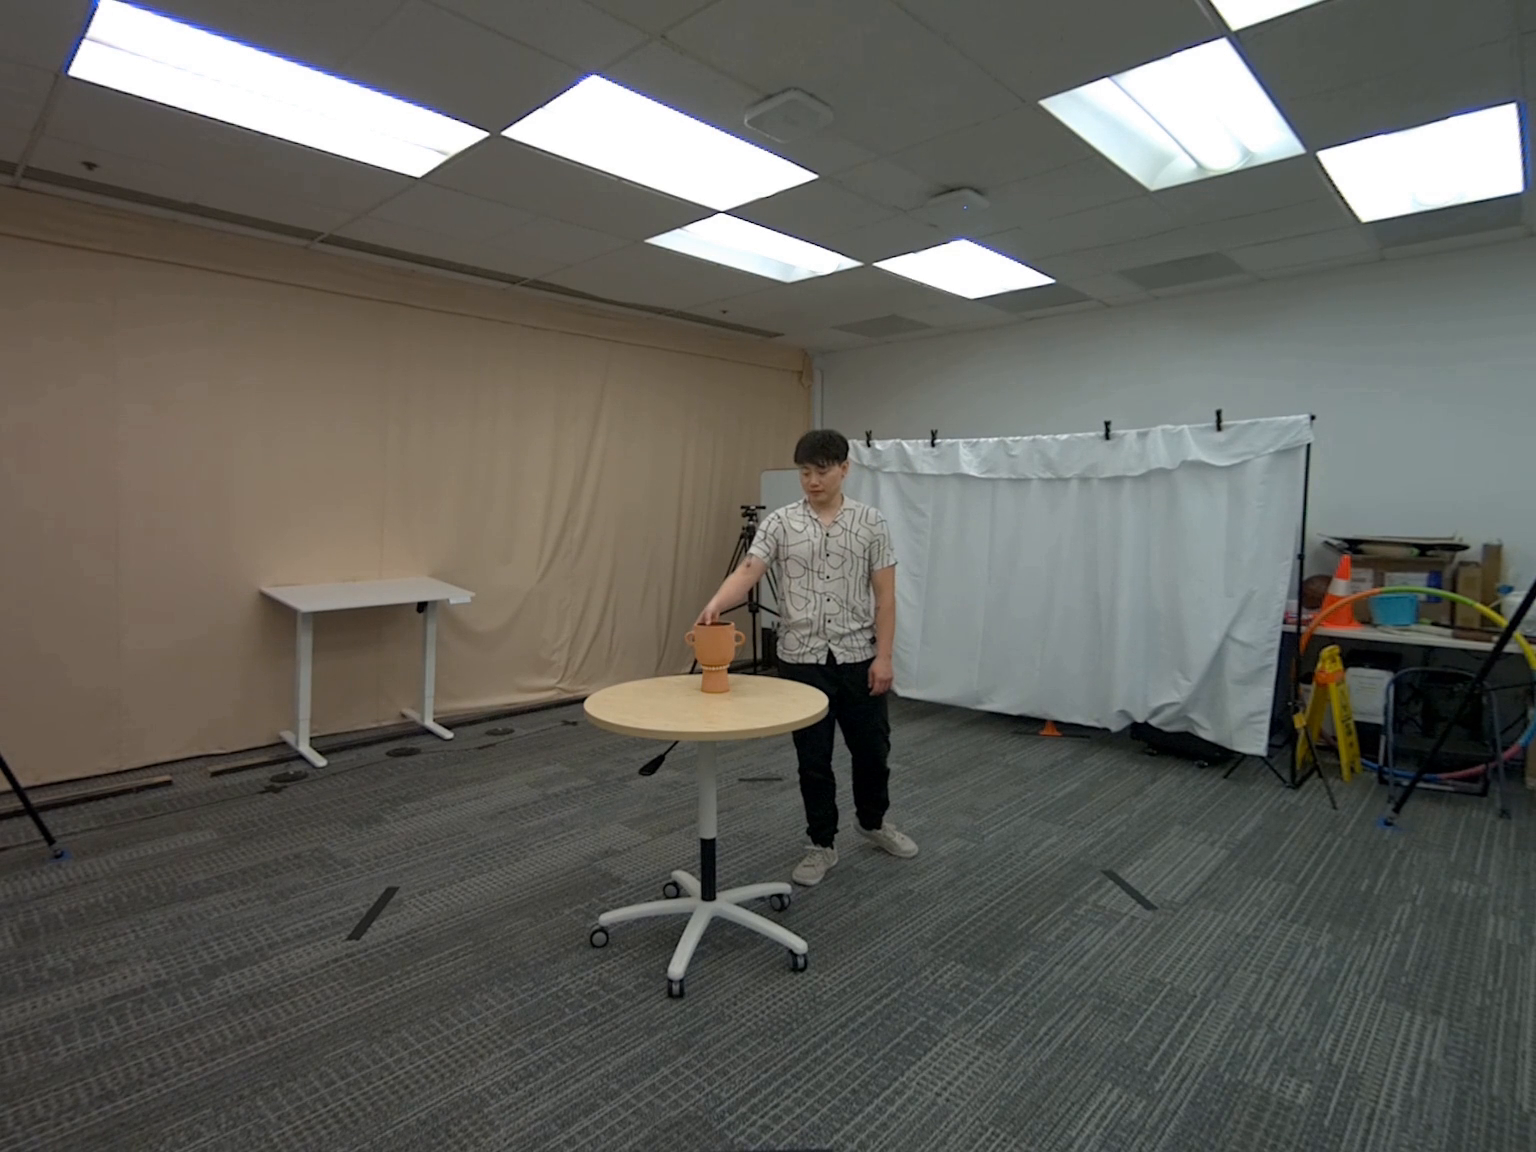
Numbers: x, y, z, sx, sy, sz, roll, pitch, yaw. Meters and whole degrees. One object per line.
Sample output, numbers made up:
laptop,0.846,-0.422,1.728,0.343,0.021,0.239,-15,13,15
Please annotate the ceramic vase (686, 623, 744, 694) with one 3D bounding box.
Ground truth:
ceramic vase,-0.172,0.268,2.772,0.164,0.219,0.130,2,3,40
